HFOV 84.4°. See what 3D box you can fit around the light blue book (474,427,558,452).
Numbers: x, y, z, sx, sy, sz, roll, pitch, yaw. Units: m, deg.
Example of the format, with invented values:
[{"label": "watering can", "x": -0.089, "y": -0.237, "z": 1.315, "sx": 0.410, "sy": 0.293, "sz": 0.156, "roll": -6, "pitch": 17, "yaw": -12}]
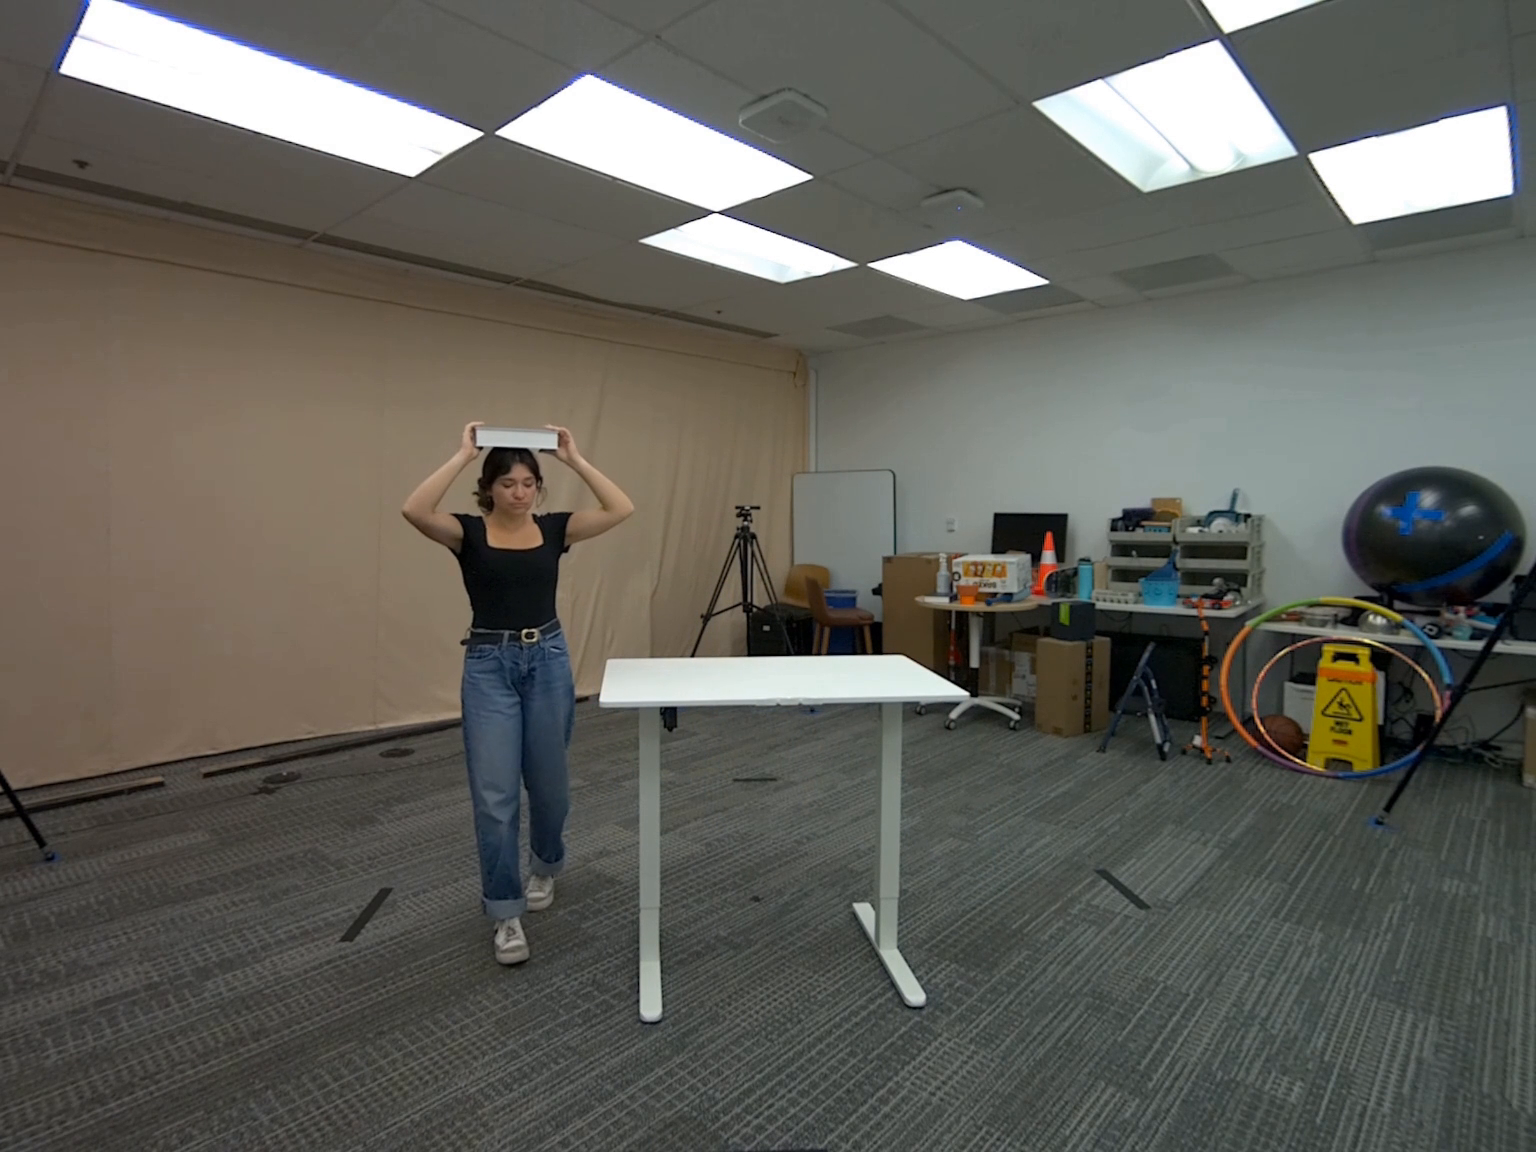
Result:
[{"label": "light blue book", "x": -0.829, "y": -0.446, "z": 2.708, "sx": 0.254, "sy": 0.059, "sz": 0.197, "roll": -3, "pitch": 9, "yaw": -28}]
